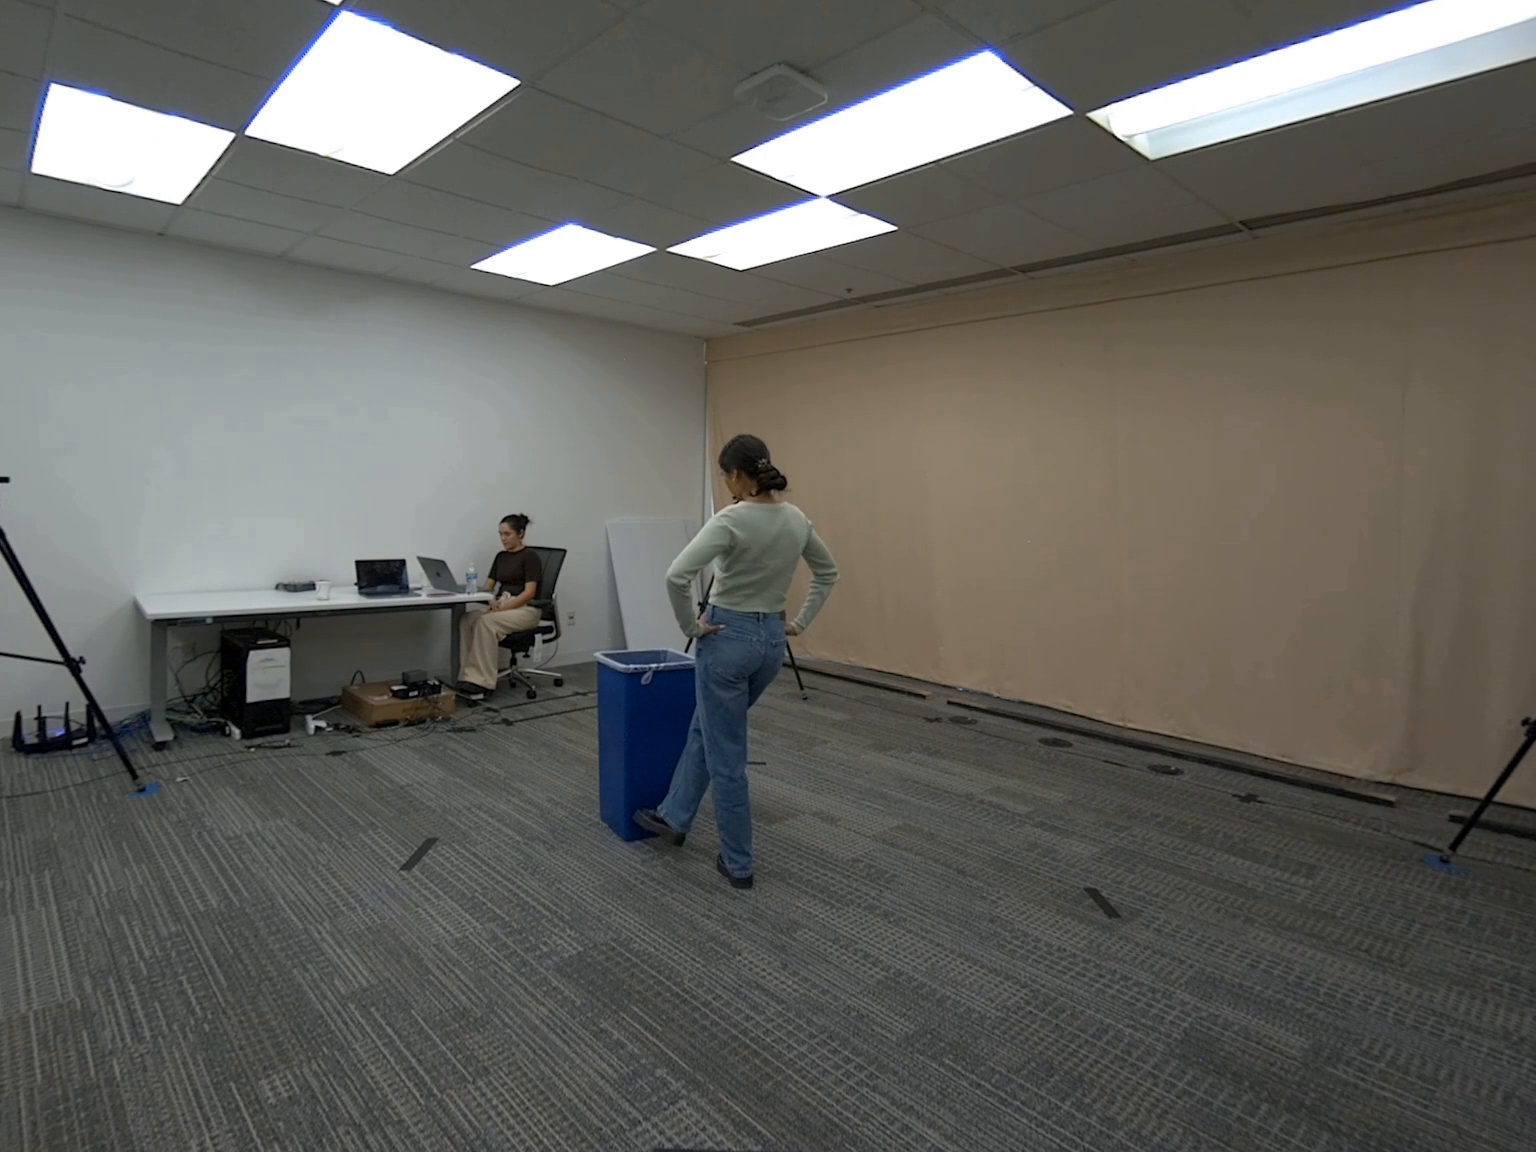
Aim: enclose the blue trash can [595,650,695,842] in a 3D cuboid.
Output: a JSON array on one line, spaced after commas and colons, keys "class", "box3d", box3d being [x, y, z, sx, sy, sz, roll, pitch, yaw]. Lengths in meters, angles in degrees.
[{"class": "blue trash can", "box3d": [-0.522, 0.693, 3.571, 0.366, 0.712, 0.386, 0, 3, -31]}]
